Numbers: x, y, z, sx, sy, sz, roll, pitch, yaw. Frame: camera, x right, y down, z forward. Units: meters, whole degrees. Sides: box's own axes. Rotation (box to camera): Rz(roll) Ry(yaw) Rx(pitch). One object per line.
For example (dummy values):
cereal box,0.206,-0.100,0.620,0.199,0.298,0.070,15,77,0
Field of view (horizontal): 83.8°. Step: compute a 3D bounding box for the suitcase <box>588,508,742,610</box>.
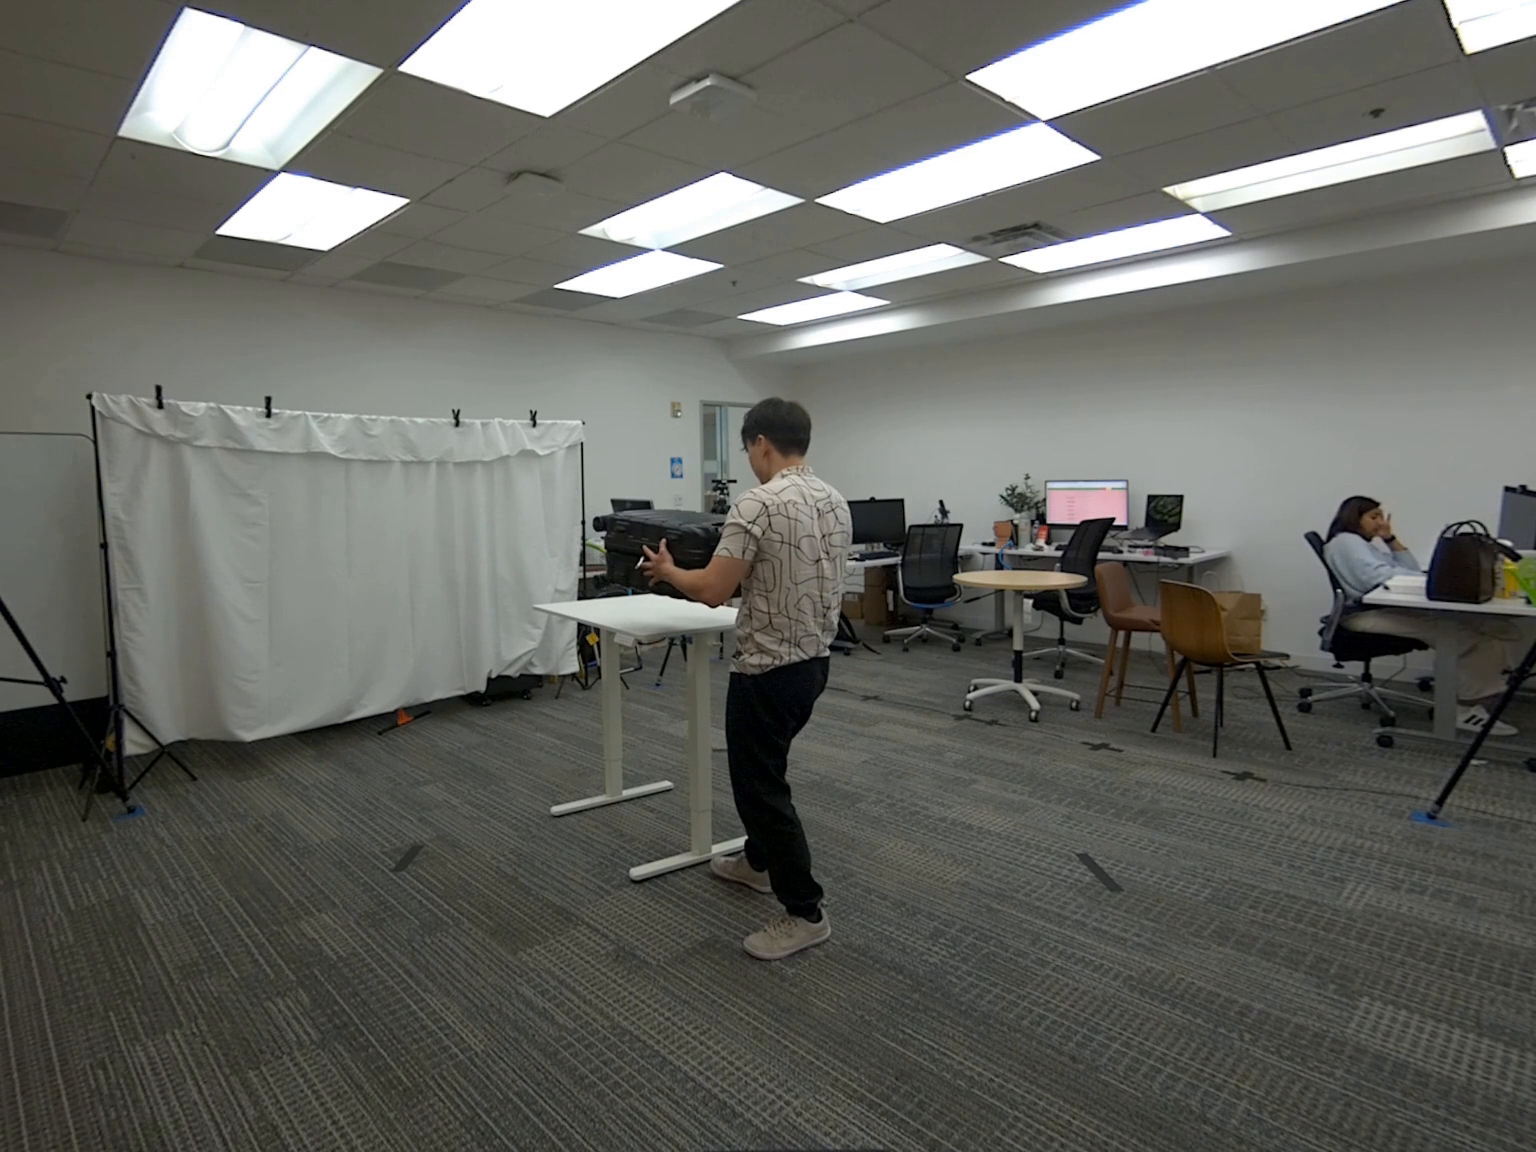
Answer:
suitcase,-0.281,-0.077,2.863,0.567,0.247,0.366,8,11,42
